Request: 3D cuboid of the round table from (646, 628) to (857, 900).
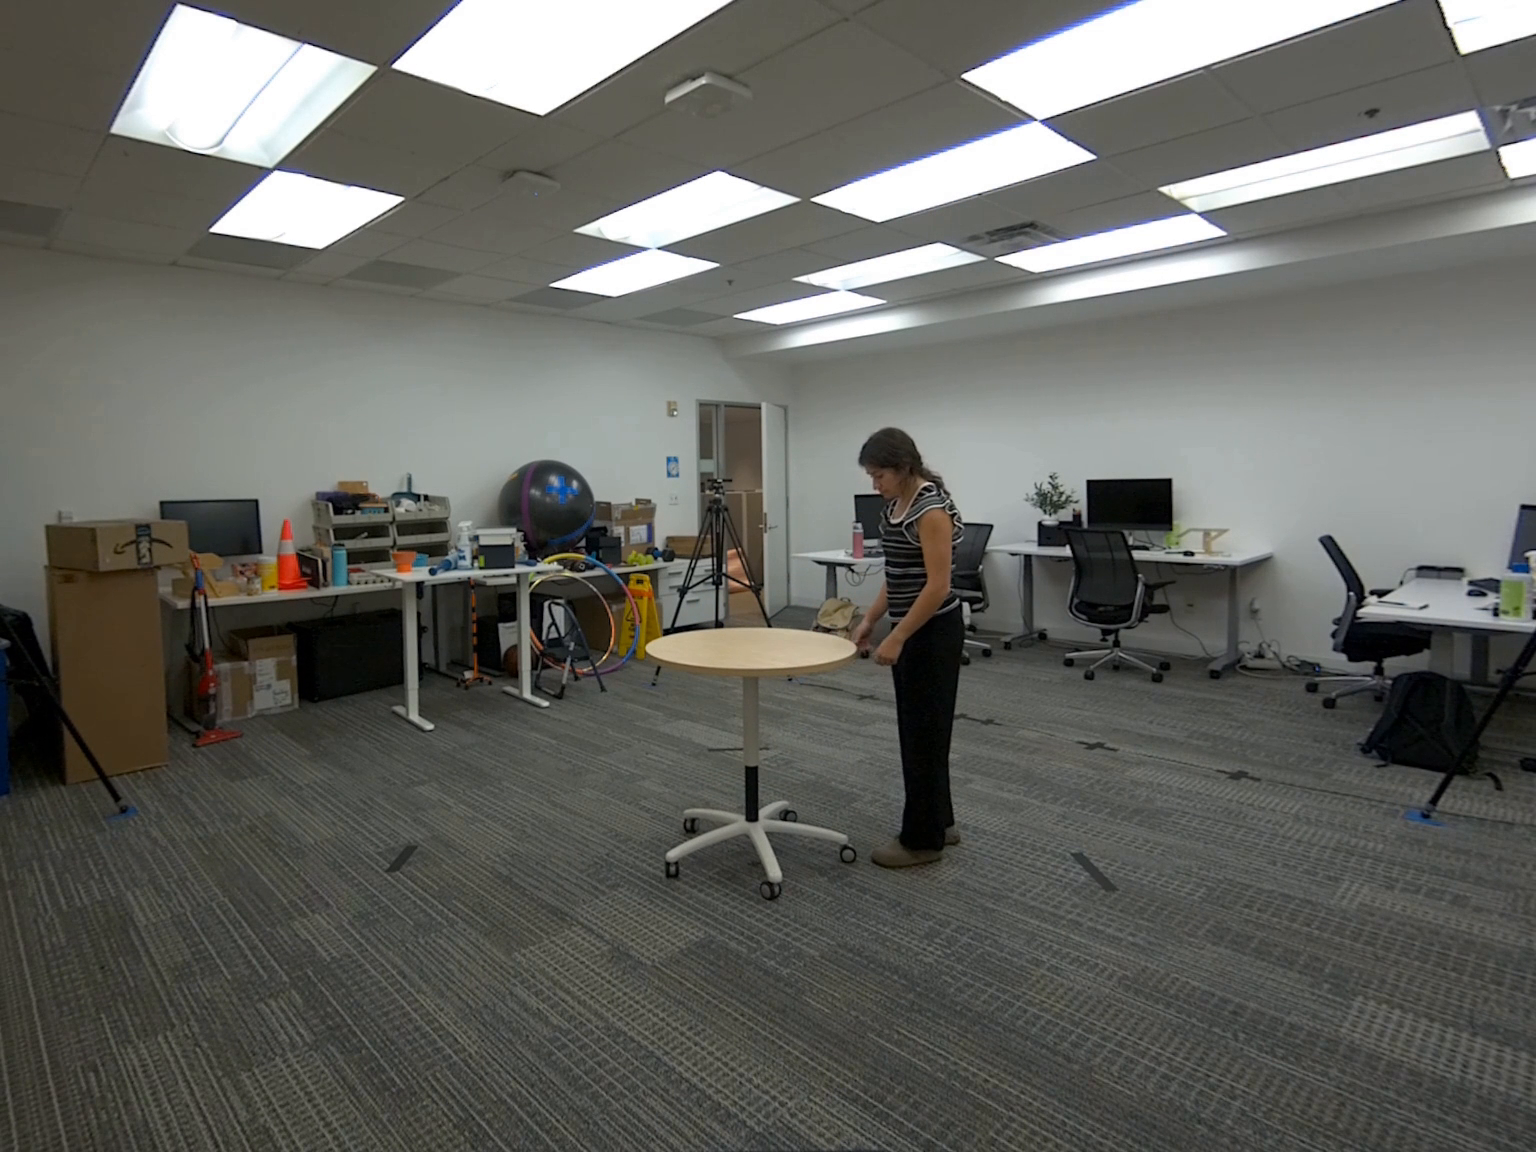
[{"bbox_3d":[-0.047,0.644,3.133,0.784,0.783,0.789,-1,5,-2],"label":"round table"}]
